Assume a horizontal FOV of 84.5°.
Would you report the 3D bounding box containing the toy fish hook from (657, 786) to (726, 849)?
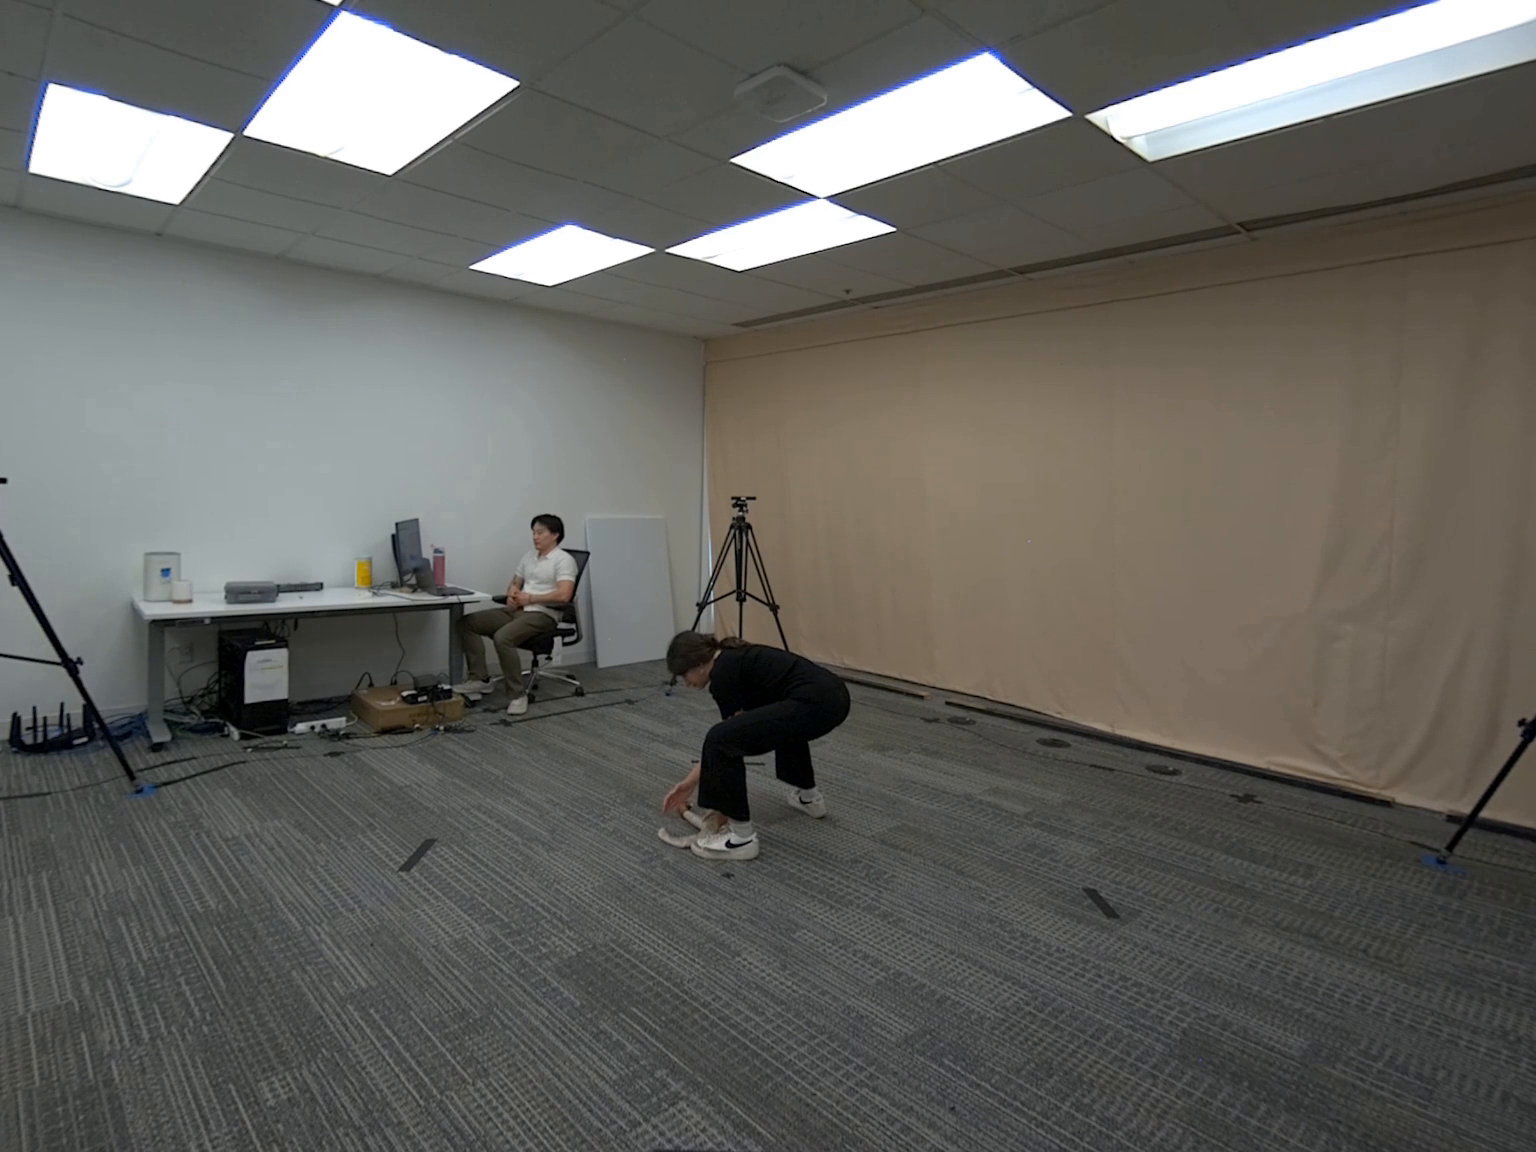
[{"bbox_3d":[-0.384,1.038,3.580,0.221,0.048,0.514,0,4,-18],"label":"toy fish hook"}]
